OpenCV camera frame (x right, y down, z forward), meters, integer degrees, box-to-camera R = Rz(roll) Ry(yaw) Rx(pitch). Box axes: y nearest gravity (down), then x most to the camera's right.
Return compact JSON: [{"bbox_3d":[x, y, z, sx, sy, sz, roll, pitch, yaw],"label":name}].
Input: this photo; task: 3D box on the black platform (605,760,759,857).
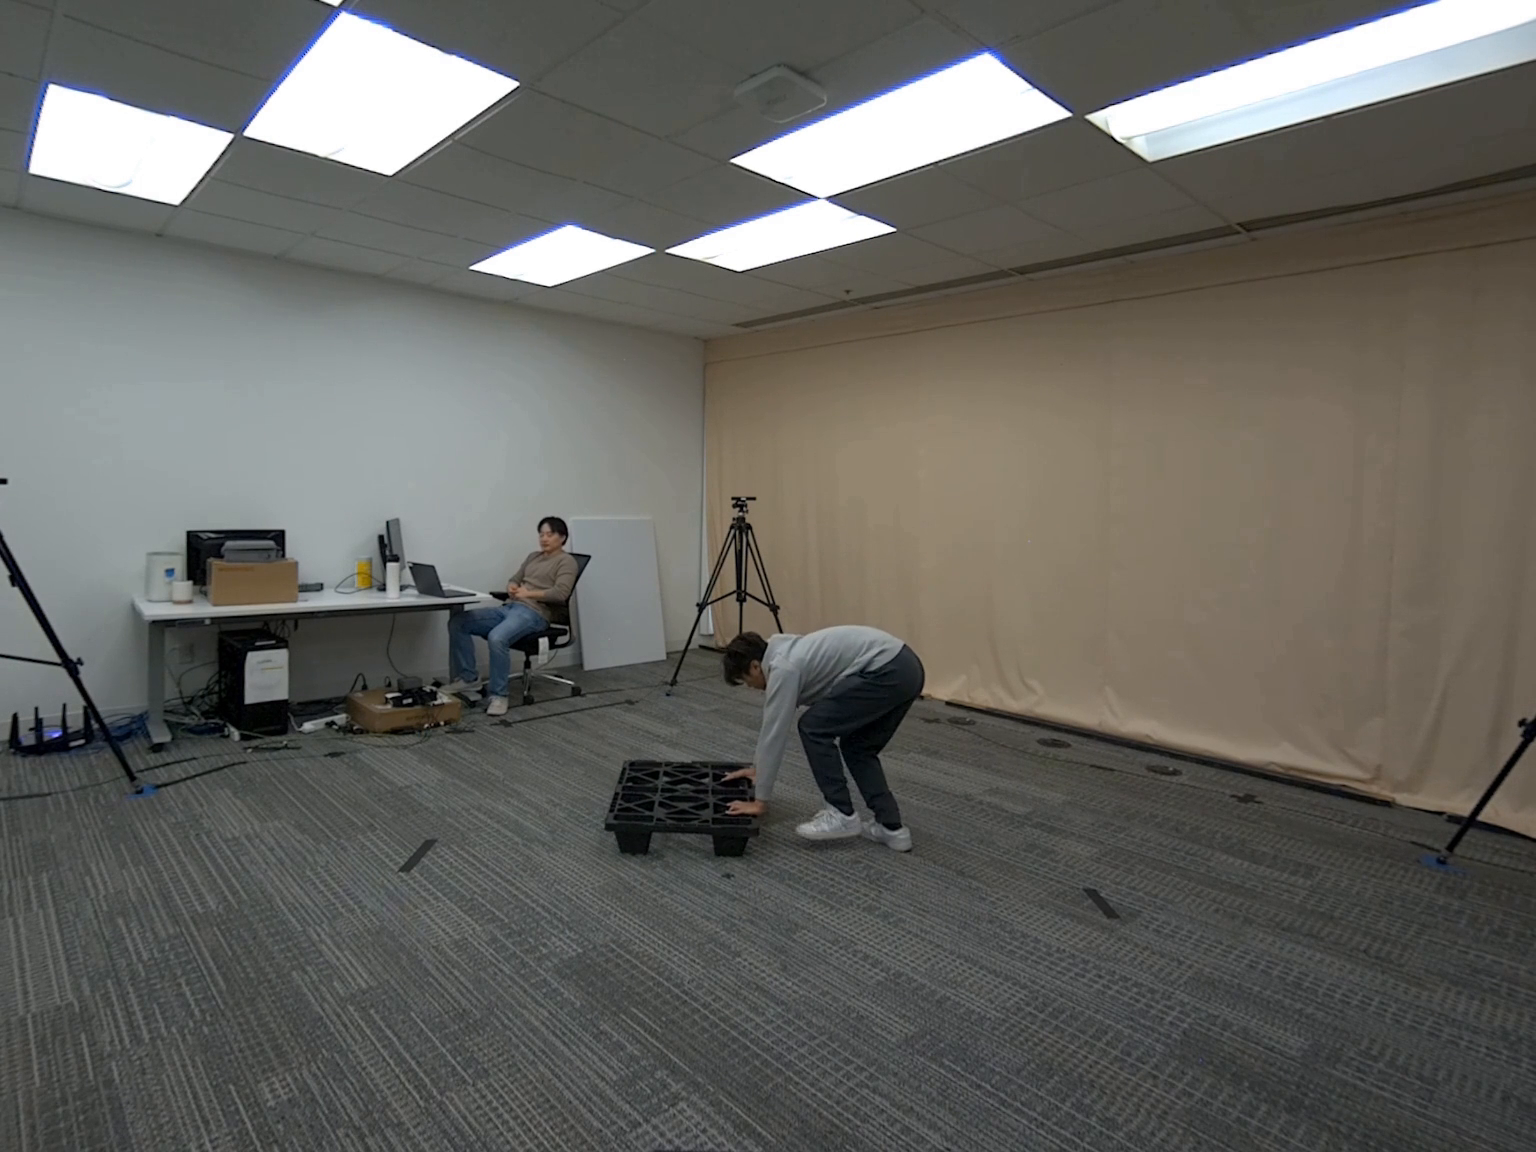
[{"bbox_3d":[-0.367,0.984,3.622,0.604,0.143,0.809,1,5,-4],"label":"black platform"}]
